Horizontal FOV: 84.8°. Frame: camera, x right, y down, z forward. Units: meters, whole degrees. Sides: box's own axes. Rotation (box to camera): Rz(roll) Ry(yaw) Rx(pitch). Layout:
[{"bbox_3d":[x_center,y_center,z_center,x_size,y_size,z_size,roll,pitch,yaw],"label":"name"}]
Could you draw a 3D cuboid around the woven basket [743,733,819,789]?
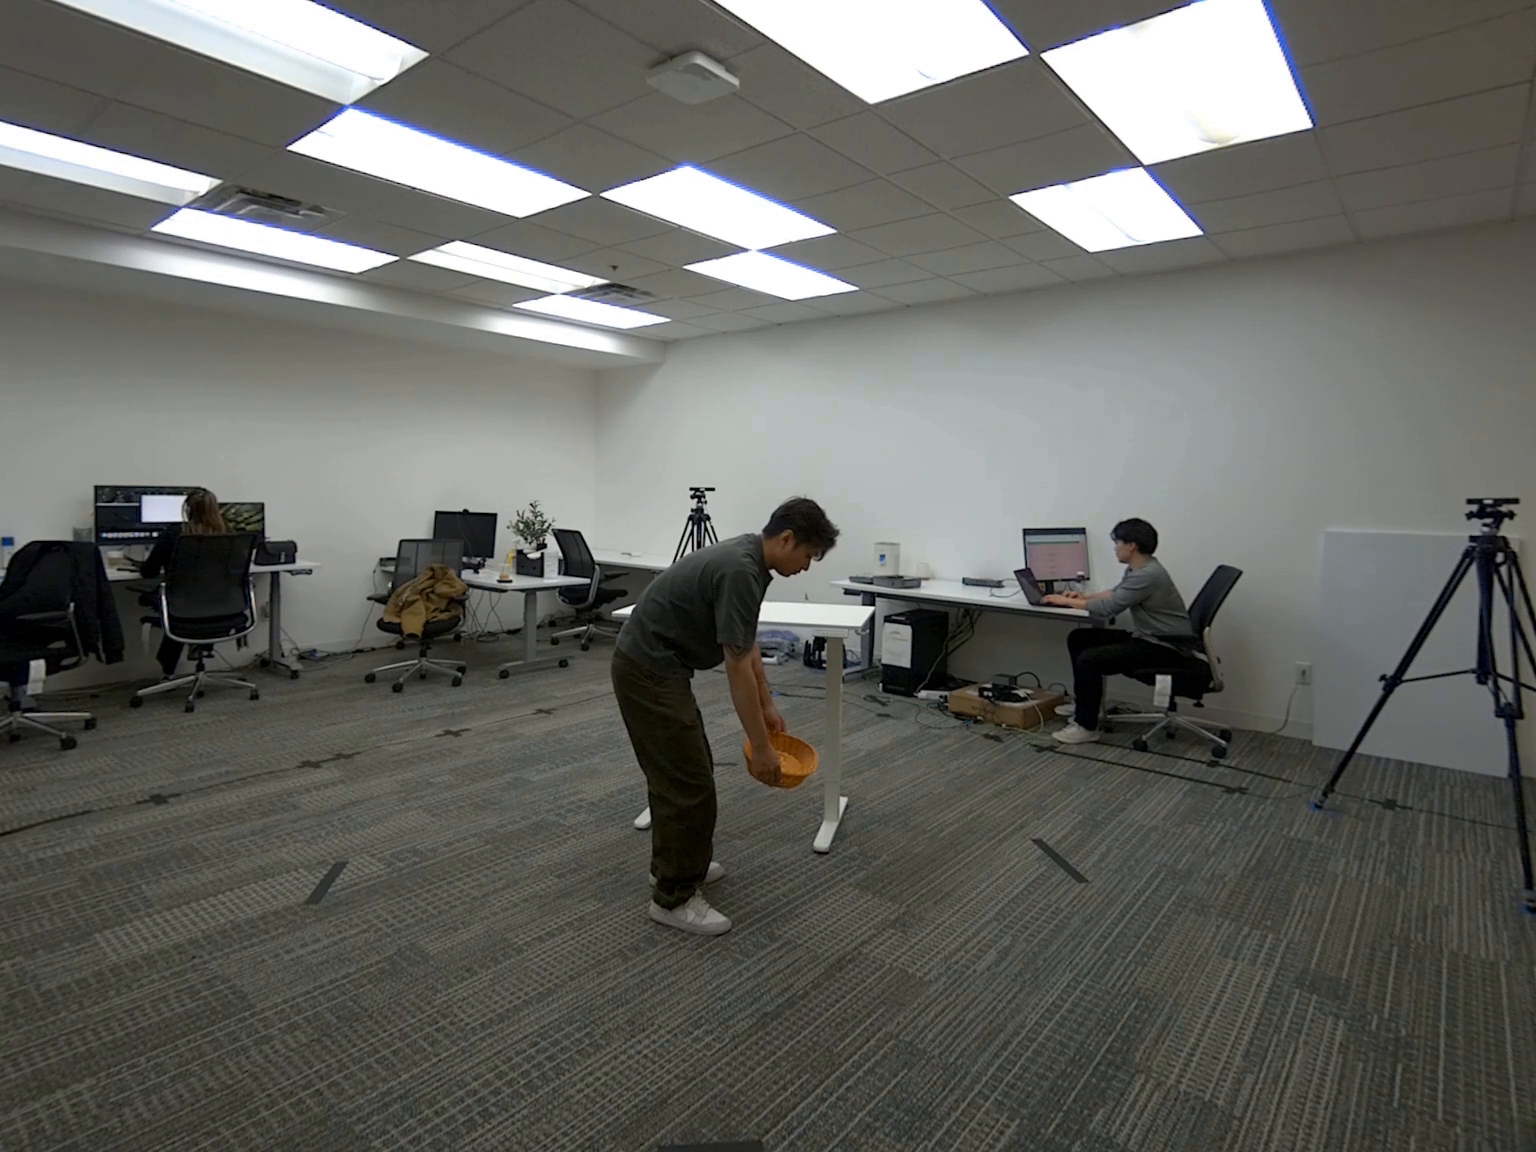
[{"bbox_3d":[0.023,0.618,2.807,0.255,0.073,0.349,13,9,7],"label":"woven basket"}]
